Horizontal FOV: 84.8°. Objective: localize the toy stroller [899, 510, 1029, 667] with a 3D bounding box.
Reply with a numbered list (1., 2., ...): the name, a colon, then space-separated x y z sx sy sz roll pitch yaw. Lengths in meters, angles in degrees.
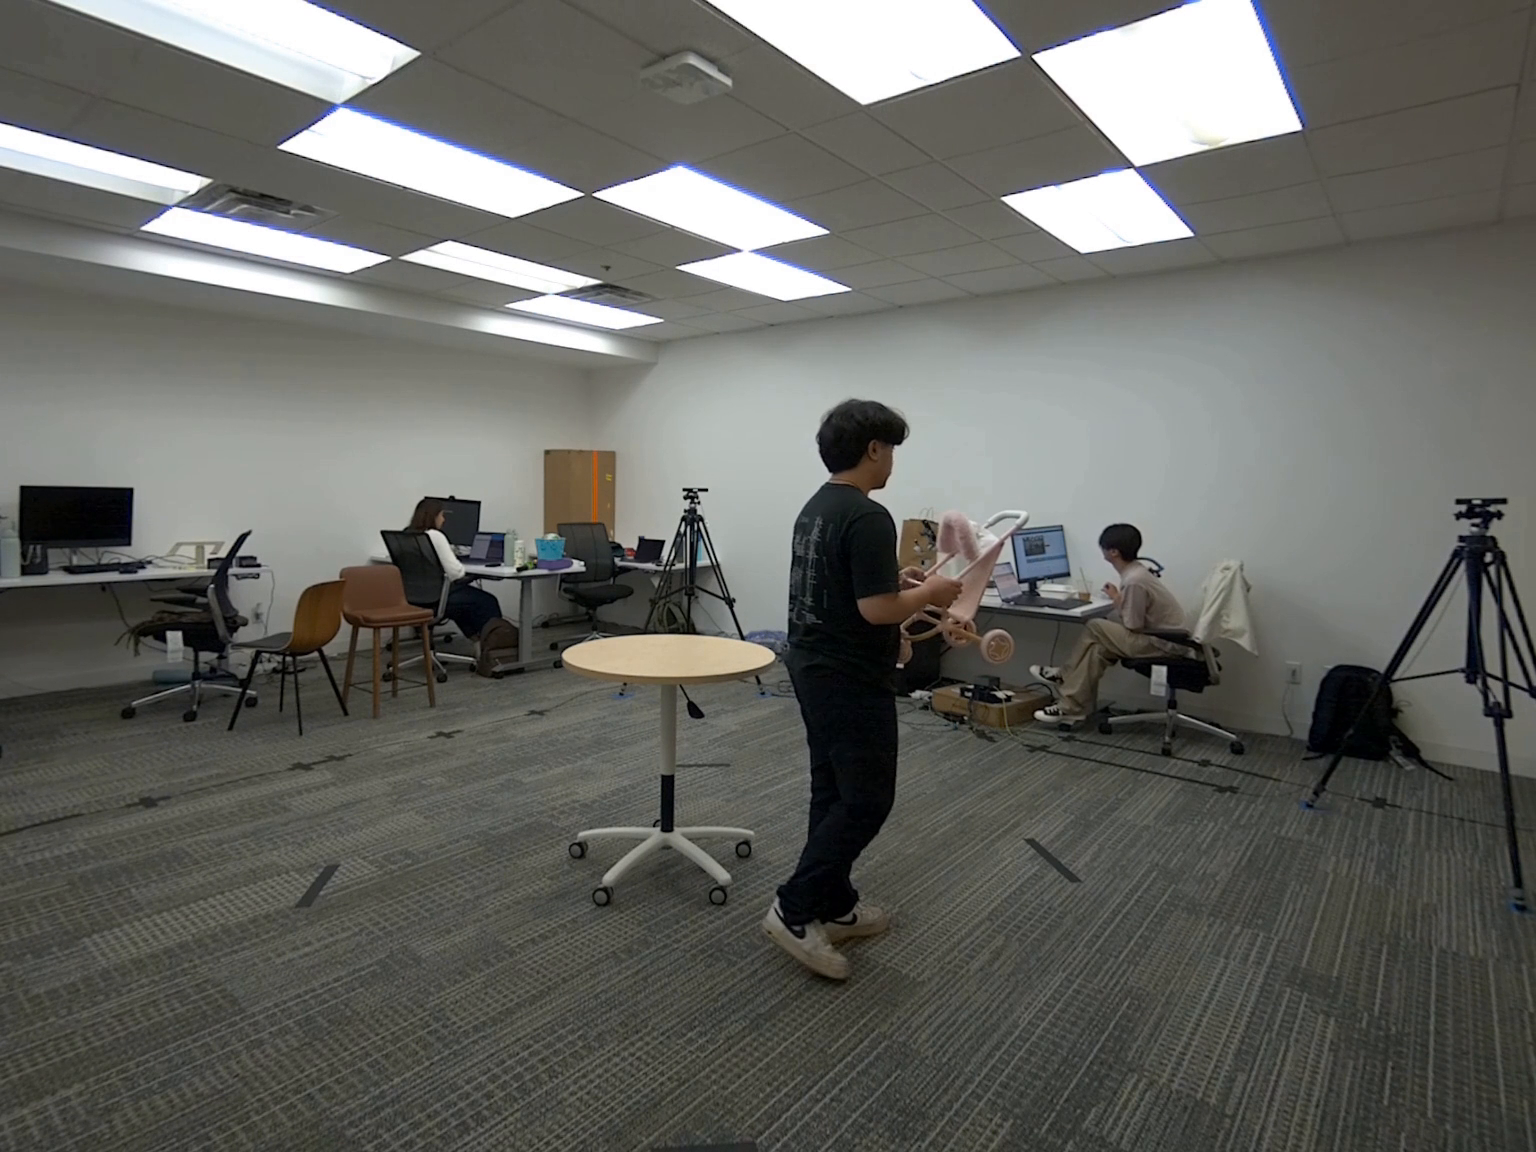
1. toy stroller: 0.583 0.037 2.672 0.339 0.533 0.284 9 4 -7
